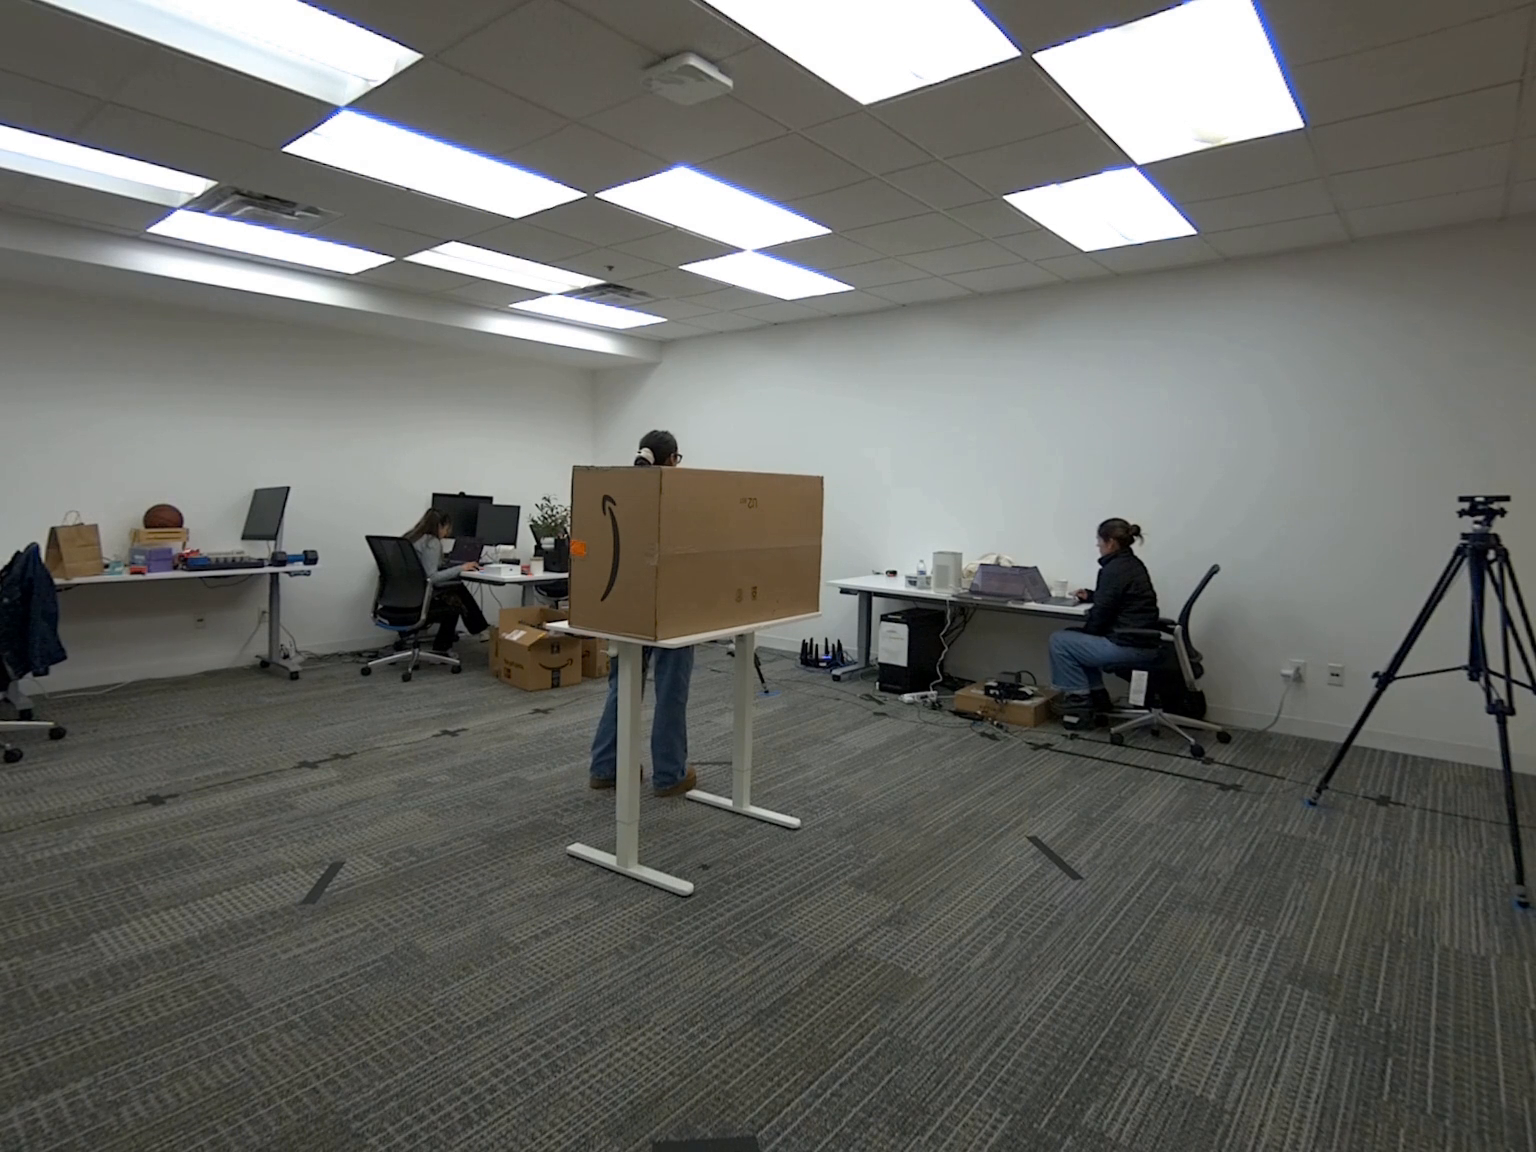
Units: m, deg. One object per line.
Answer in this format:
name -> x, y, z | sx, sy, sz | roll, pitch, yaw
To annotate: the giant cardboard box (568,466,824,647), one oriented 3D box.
giant cardboard box -> -0.250, -0.120, 3.293 | 0.440, 0.575, 0.996 | 5, 6, 36
